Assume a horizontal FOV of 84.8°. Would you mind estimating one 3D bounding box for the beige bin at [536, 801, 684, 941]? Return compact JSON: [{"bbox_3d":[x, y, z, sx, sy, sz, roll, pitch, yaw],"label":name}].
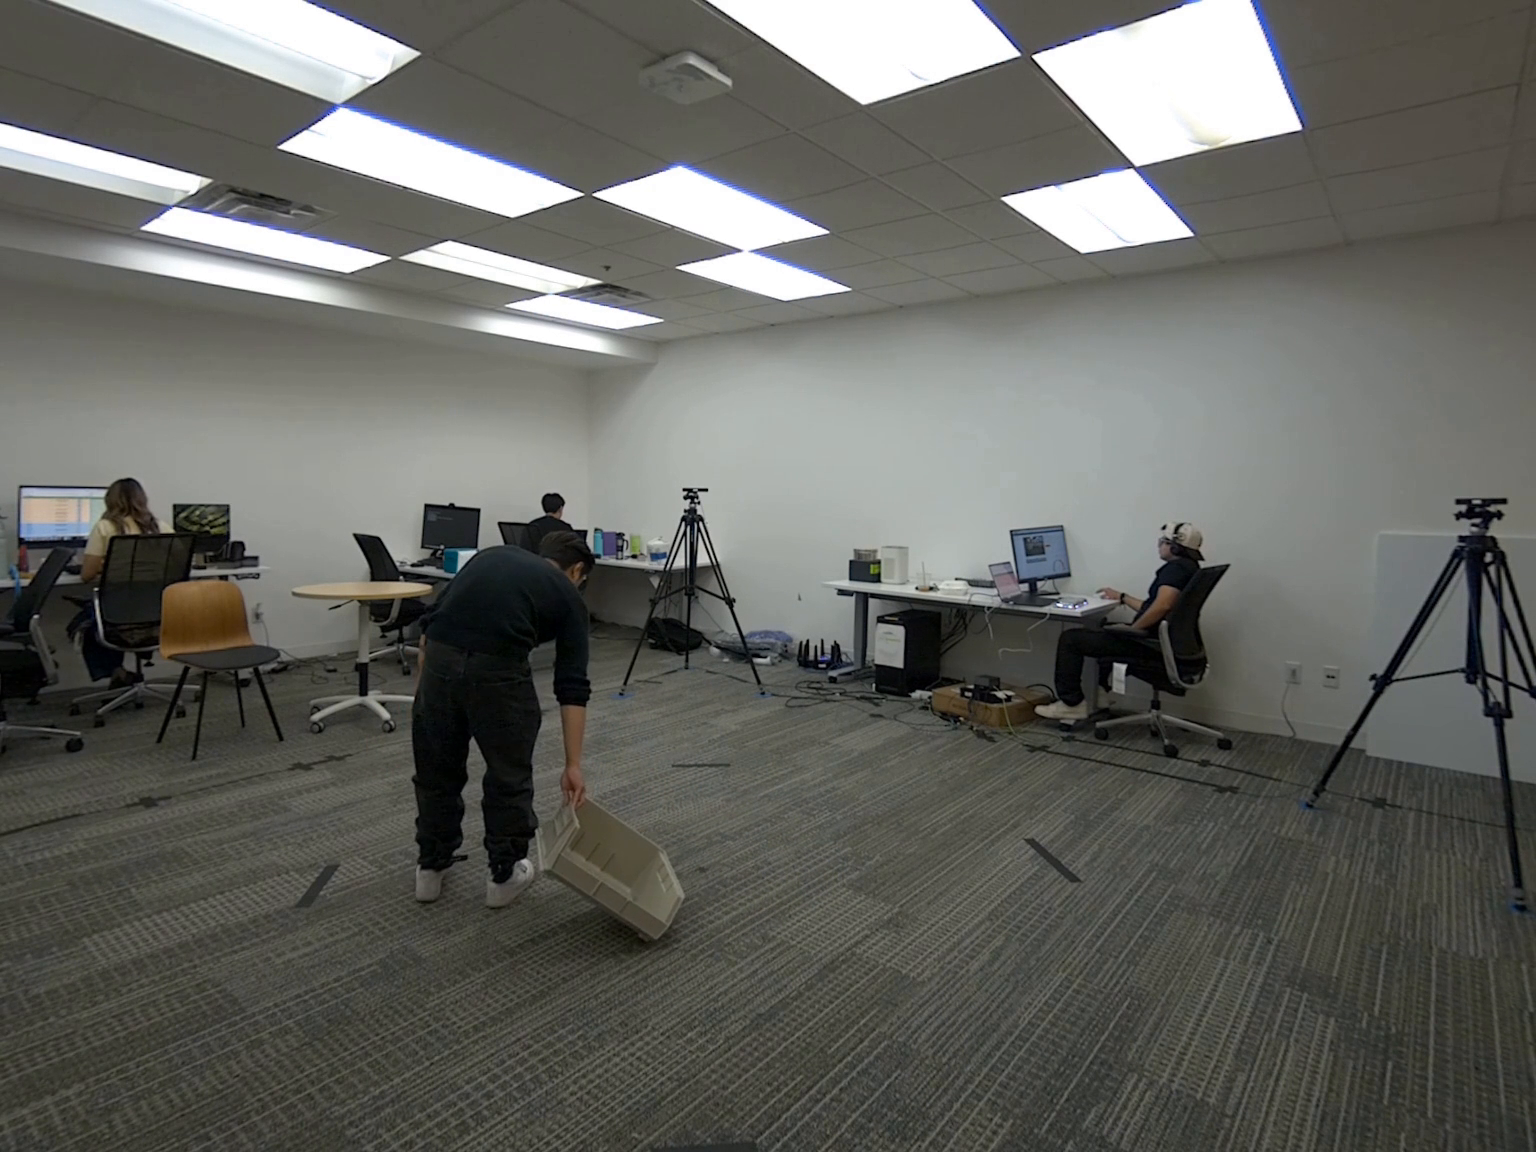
[{"bbox_3d":[-0.518,0.907,2.693,0.414,0.189,0.385,38,-7,-15],"label":"beige bin"}]
